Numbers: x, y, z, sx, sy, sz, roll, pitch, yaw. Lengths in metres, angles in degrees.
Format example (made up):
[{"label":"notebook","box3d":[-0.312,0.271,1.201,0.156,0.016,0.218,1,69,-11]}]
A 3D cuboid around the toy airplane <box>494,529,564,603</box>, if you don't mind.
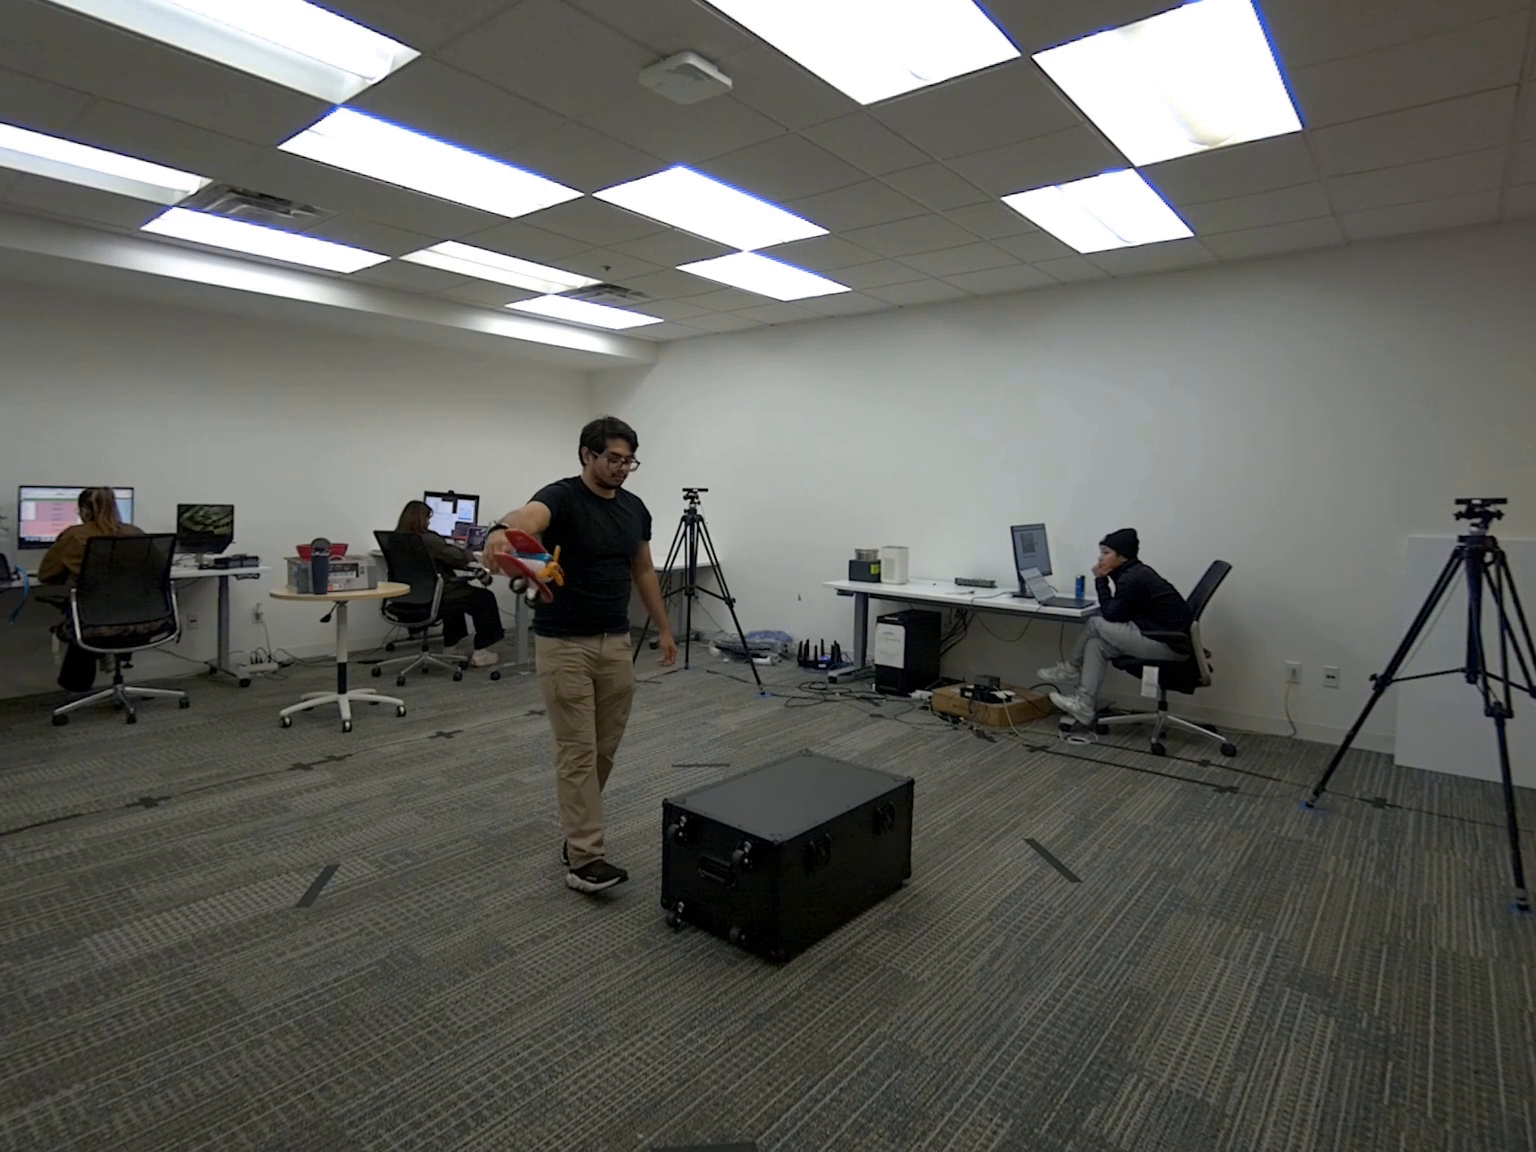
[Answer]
[{"label":"toy airplane","box3d":[-0.734,-0.032,2.412,0.261,0.157,0.249,31,-22,3]}]
